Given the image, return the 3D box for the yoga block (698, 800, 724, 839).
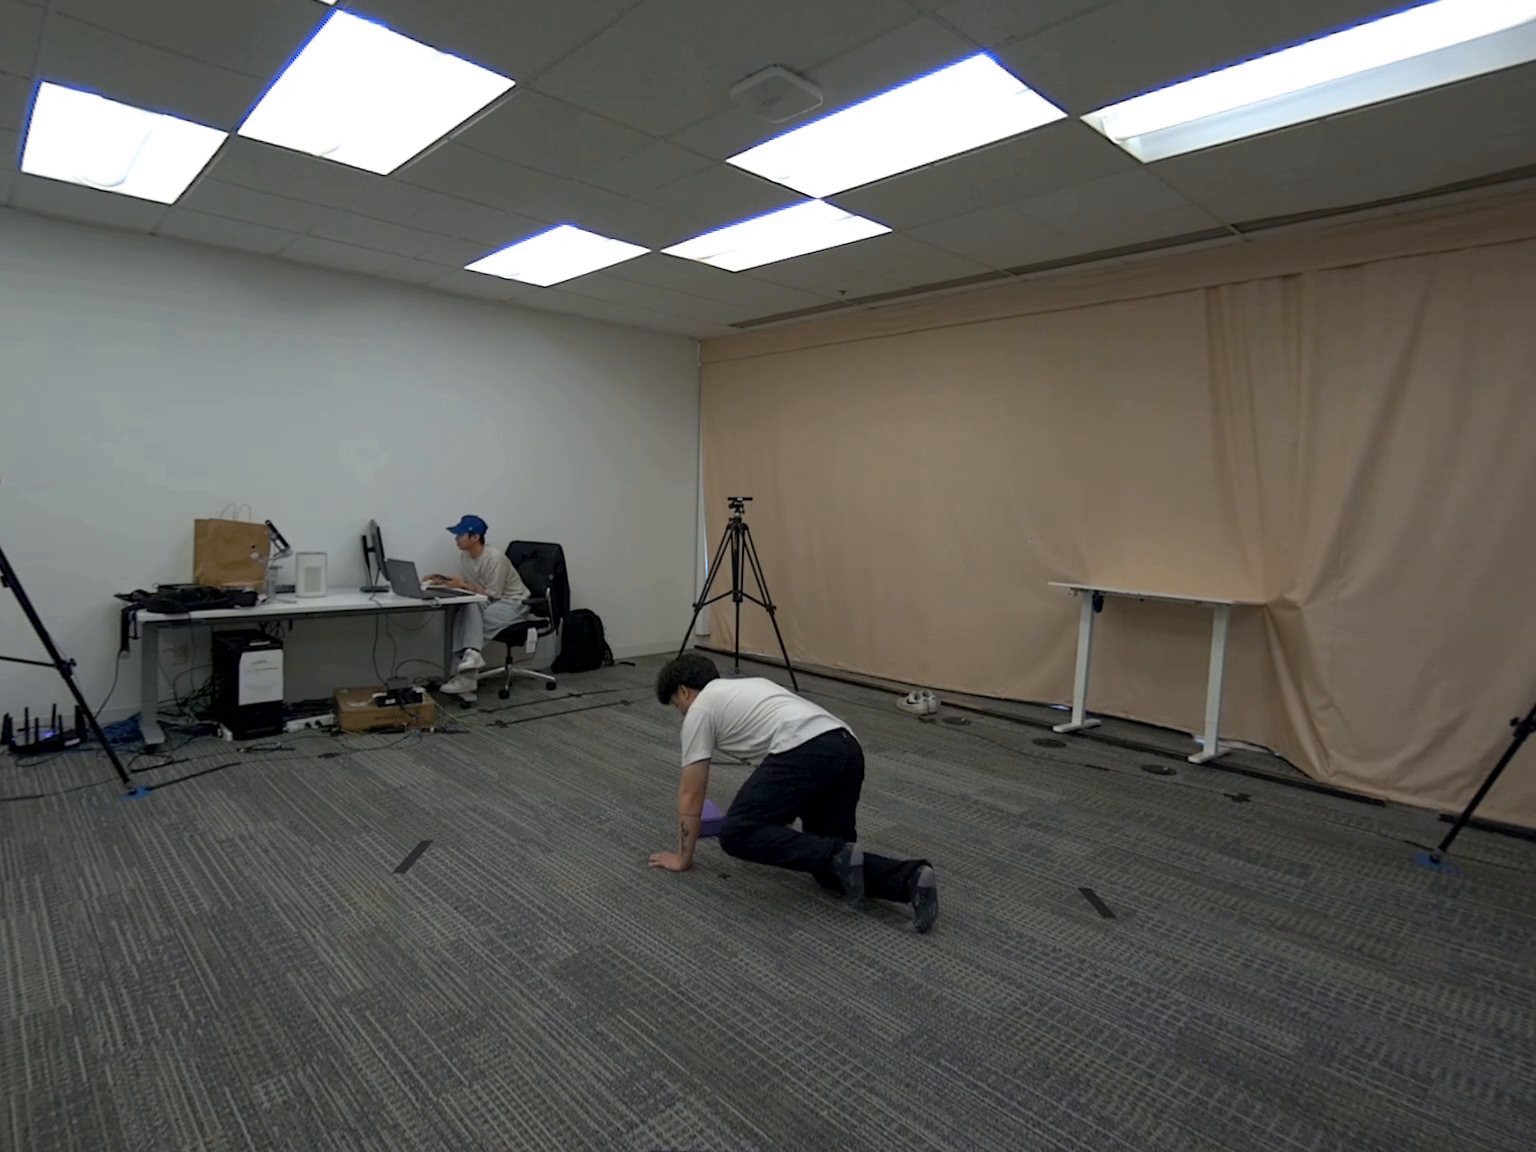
[{"bbox_3d":[-0.280,1.027,3.571,0.146,0.076,0.234,0,5,-22],"label":"yoga block"}]
